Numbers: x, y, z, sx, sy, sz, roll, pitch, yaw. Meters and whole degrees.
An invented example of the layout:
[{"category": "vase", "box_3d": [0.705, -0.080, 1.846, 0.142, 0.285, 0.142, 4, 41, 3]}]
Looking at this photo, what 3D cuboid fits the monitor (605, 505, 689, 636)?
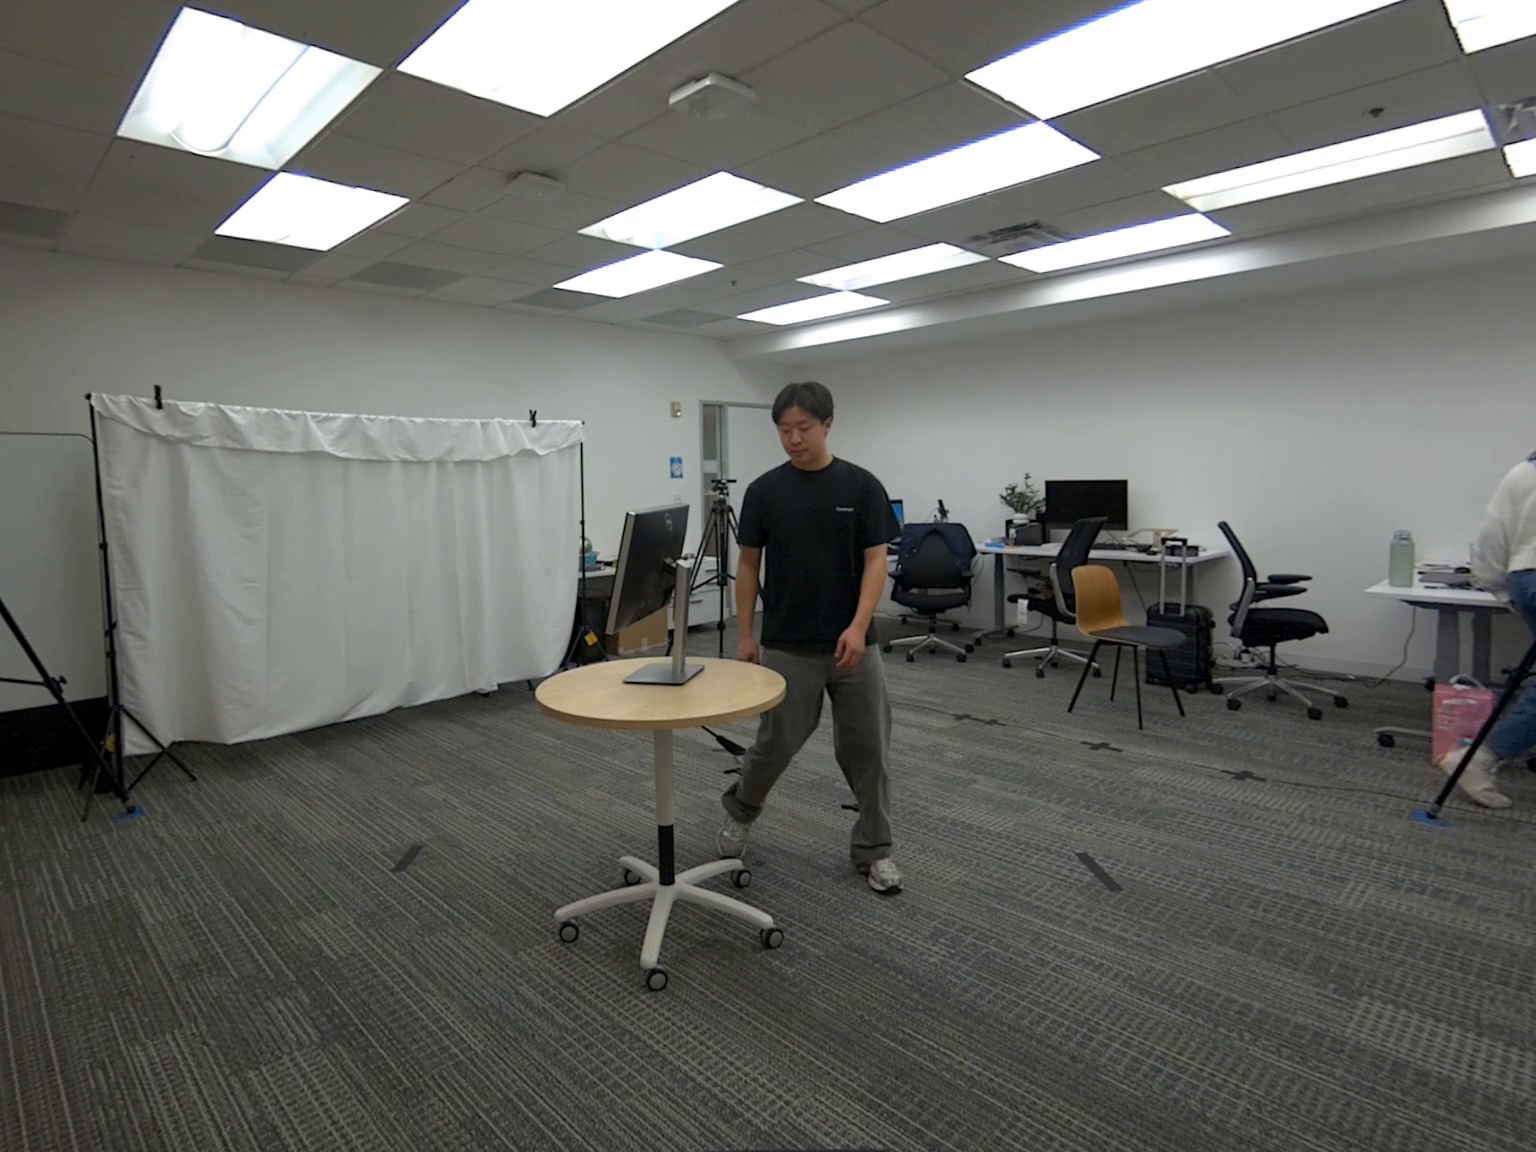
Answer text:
[{"category": "monitor", "box_3d": [-0.342, 0.062, 2.714, 0.226, 0.564, 0.555, -2, 5, 16]}]
